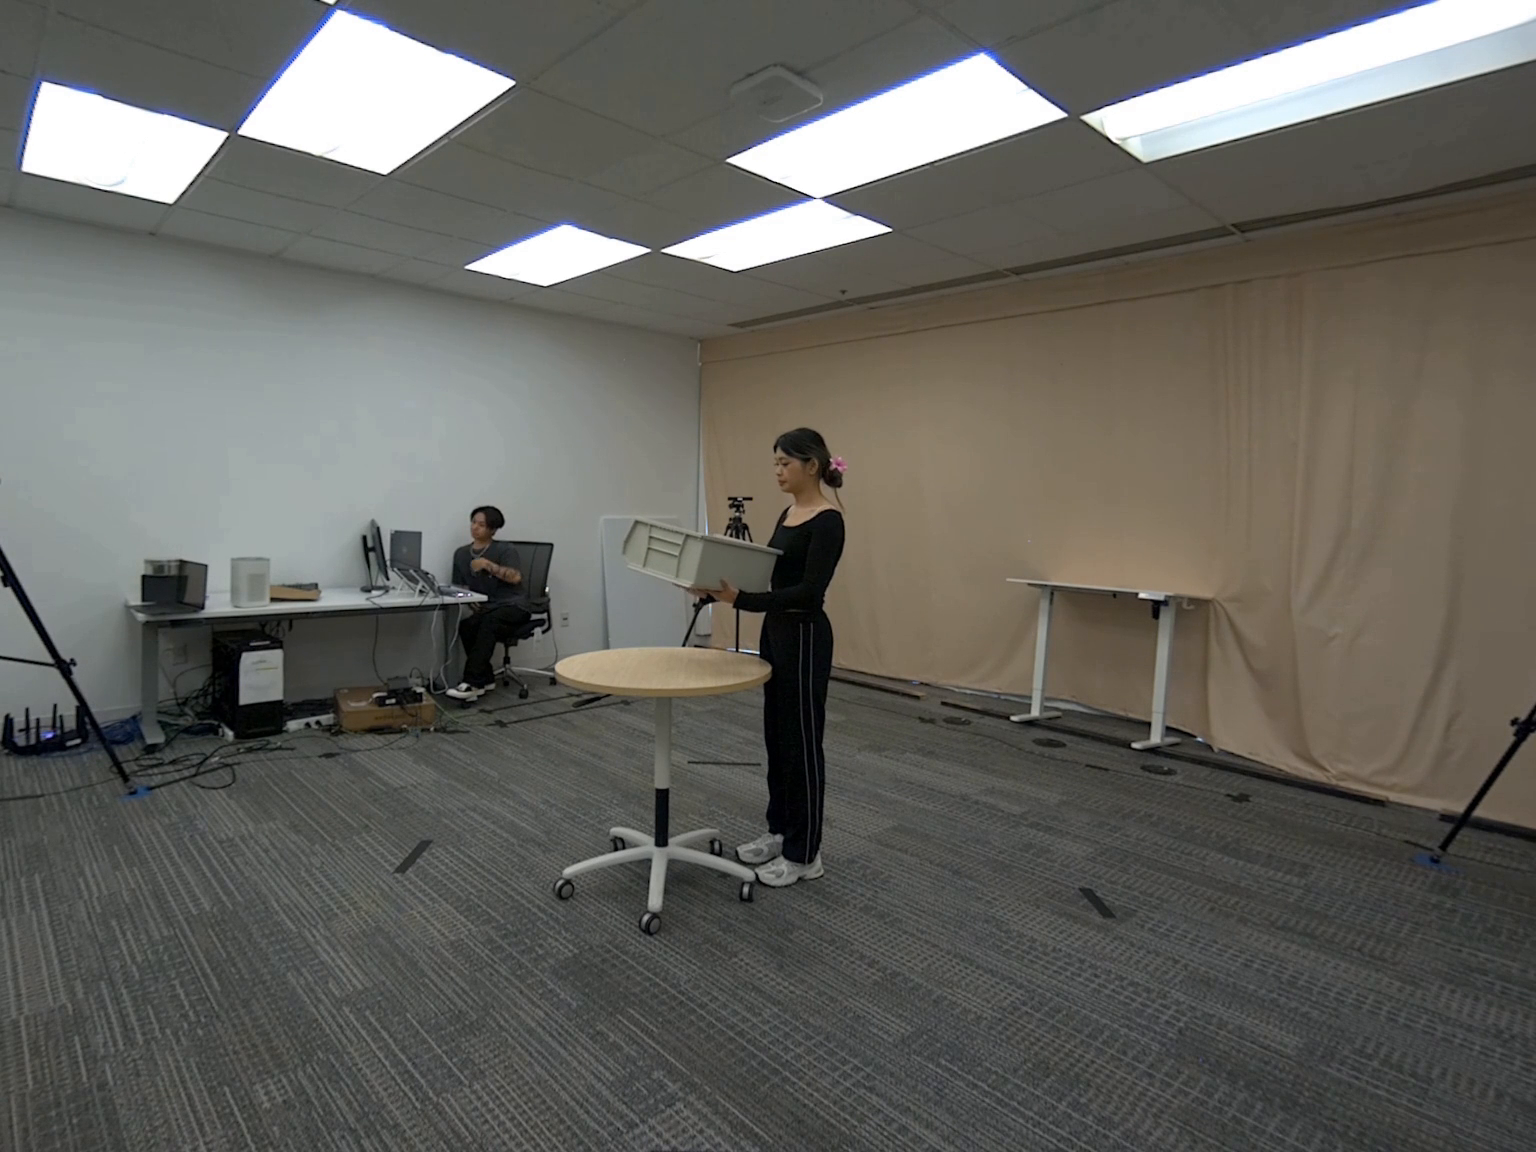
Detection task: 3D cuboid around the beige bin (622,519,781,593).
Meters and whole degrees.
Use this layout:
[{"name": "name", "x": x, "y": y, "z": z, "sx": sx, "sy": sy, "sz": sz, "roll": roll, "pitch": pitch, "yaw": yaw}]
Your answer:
[{"name": "beige bin", "x": -0.245, "y": -0.061, "z": 2.959, "sx": 0.388, "sy": 0.188, "sz": 0.411, "roll": 18, "pitch": 5, "yaw": 41}]
